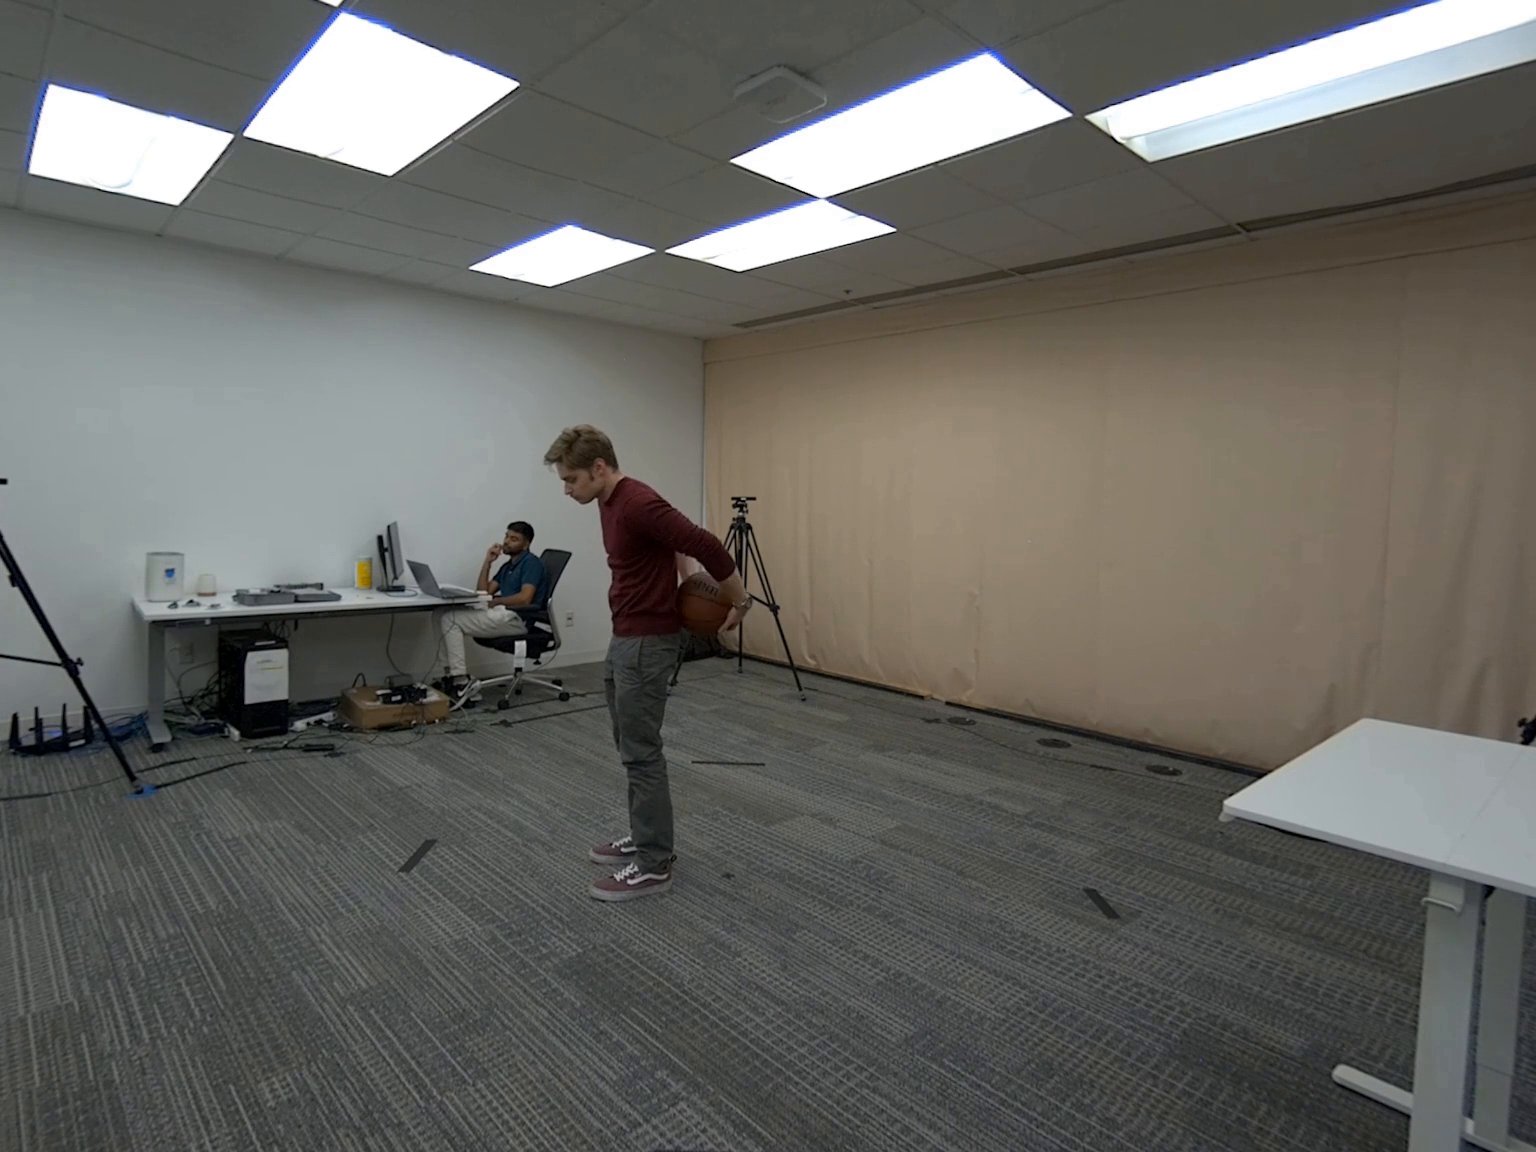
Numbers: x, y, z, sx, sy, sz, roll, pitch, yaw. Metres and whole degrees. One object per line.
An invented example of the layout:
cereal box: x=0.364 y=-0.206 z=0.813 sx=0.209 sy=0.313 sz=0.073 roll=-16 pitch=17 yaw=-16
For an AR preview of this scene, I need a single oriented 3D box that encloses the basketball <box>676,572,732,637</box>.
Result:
basketball: x=-0.250 y=0.085 z=3.073 sx=0.236 sy=0.235 sz=0.237 roll=1 pitch=4 yaw=-1
